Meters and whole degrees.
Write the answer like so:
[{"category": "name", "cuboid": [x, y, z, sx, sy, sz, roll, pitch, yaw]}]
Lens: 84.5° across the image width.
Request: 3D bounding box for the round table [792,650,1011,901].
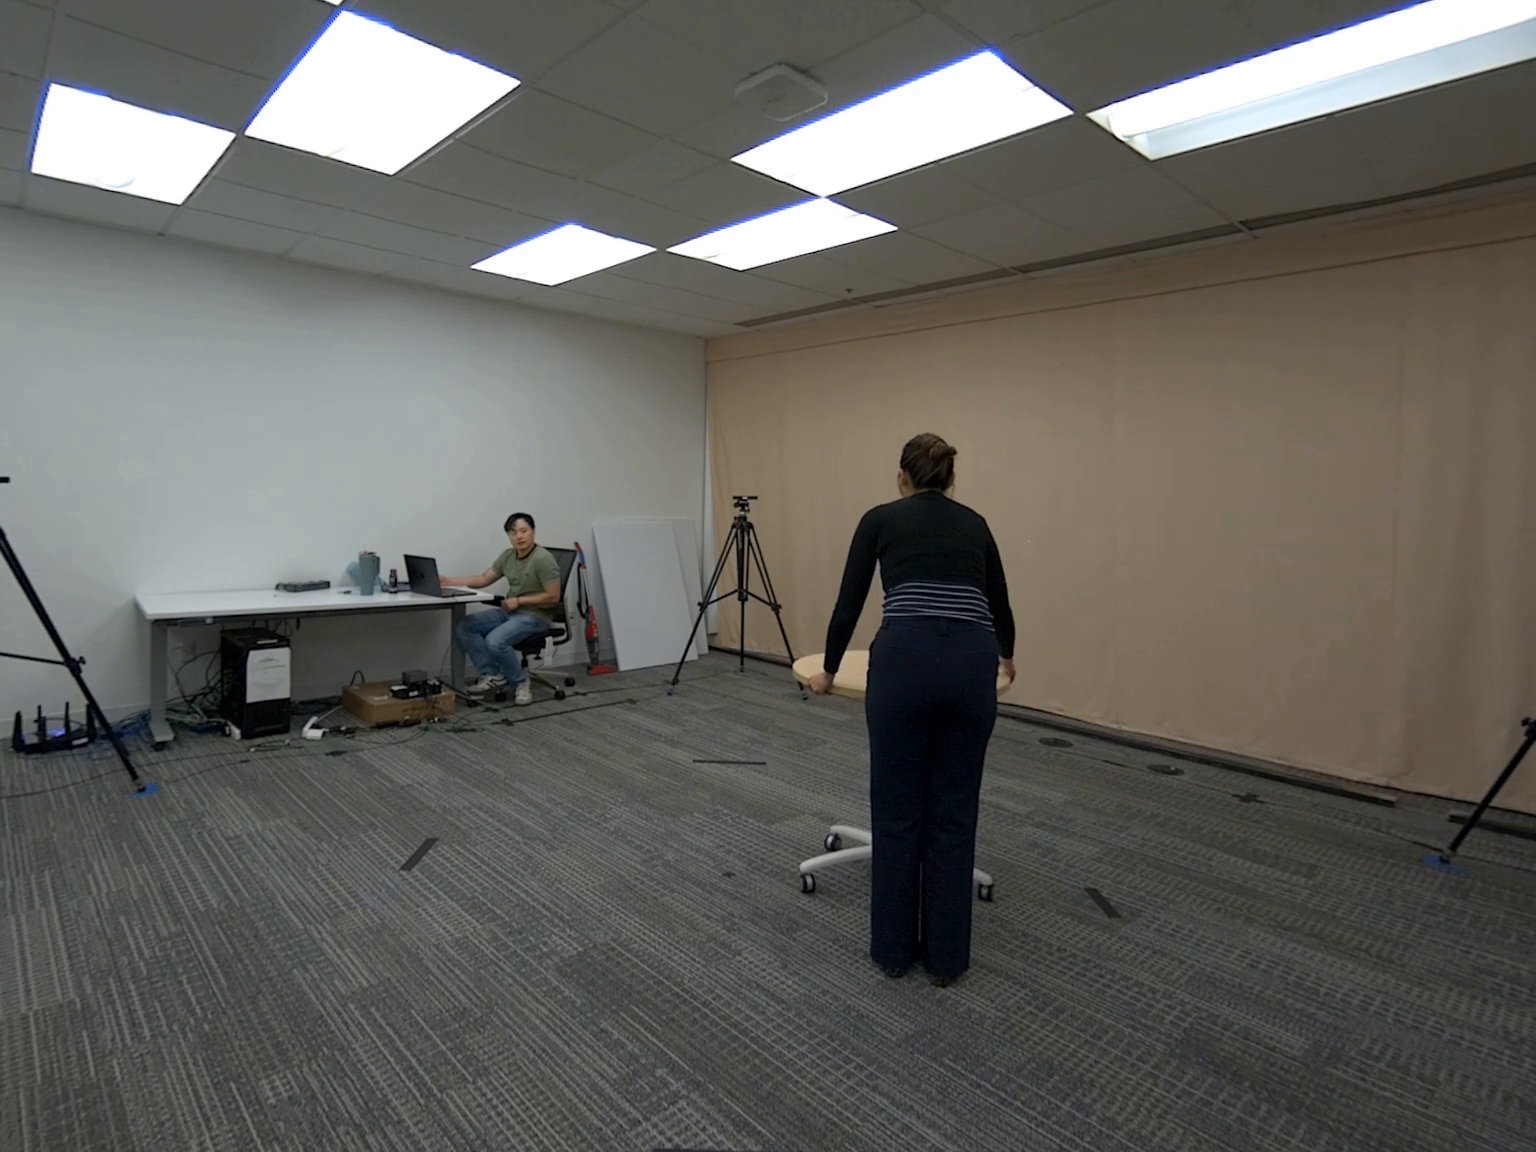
[{"category": "round table", "cuboid": [0.464, 0.736, 3.055, 0.763, 0.792, 0.767, 2, 4, -1]}]
